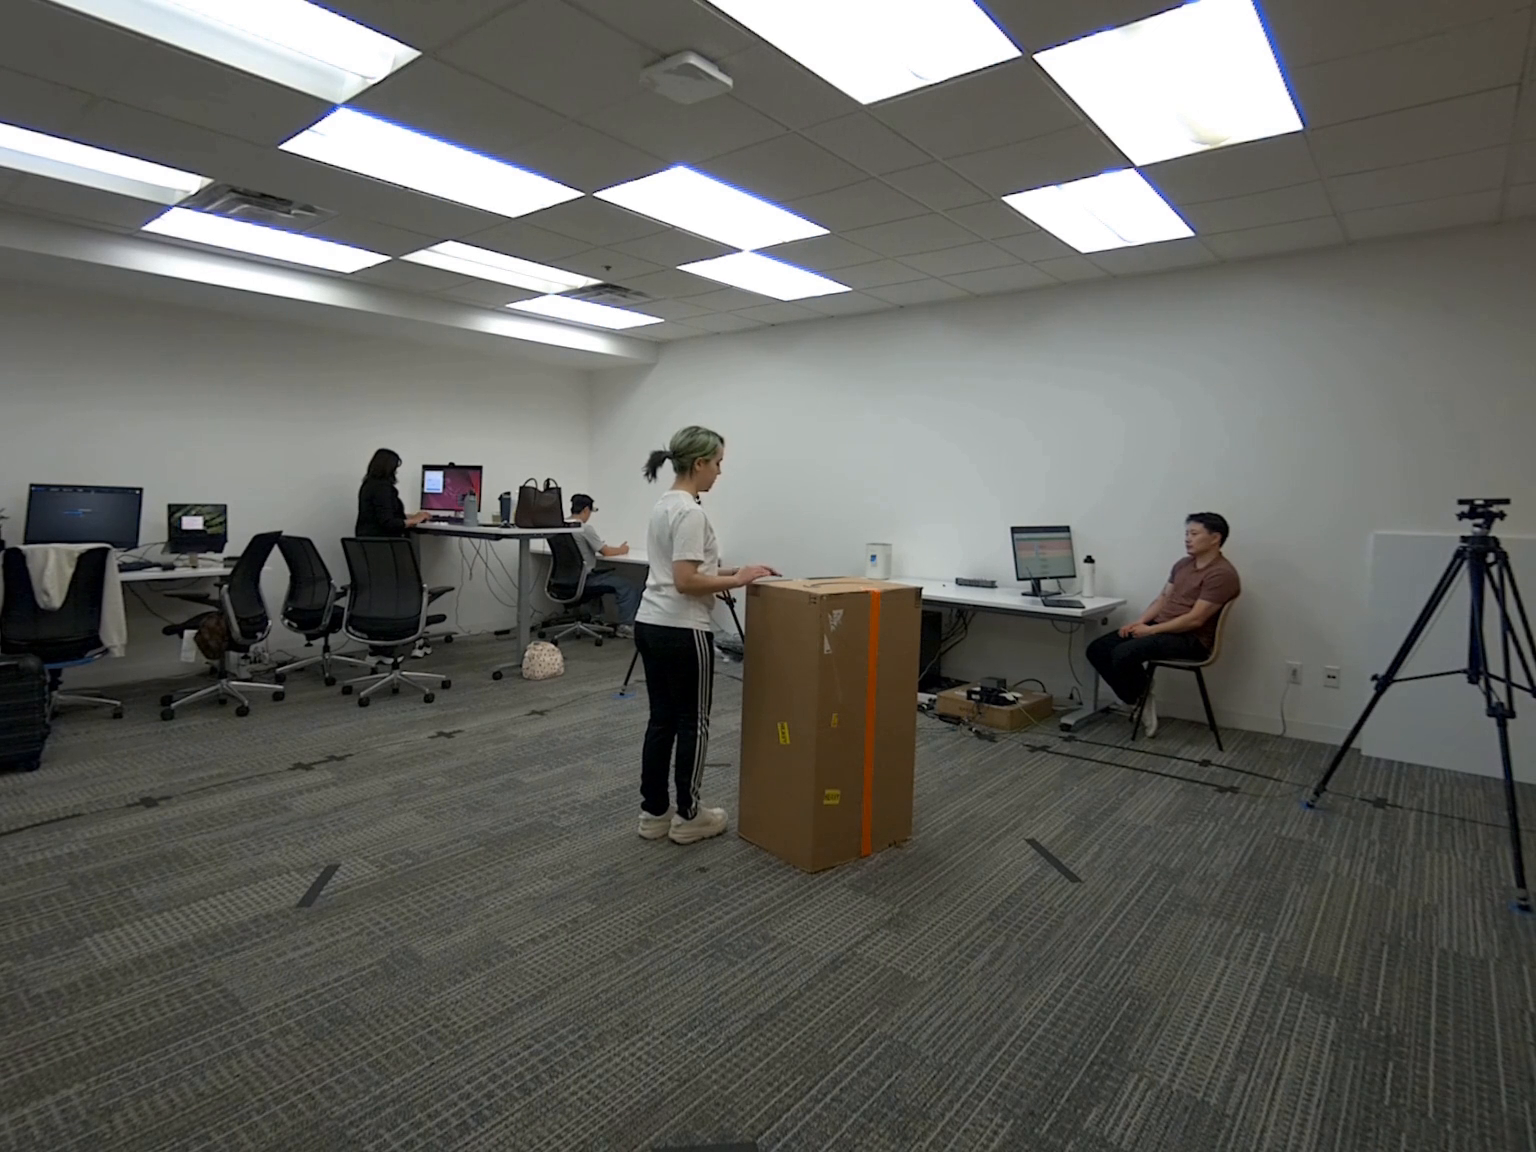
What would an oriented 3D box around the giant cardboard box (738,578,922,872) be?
[{"bbox_3d":[0.241,0.544,3.399,0.566,1.025,0.462,-1,4,-41],"label":"giant cardboard box"}]
